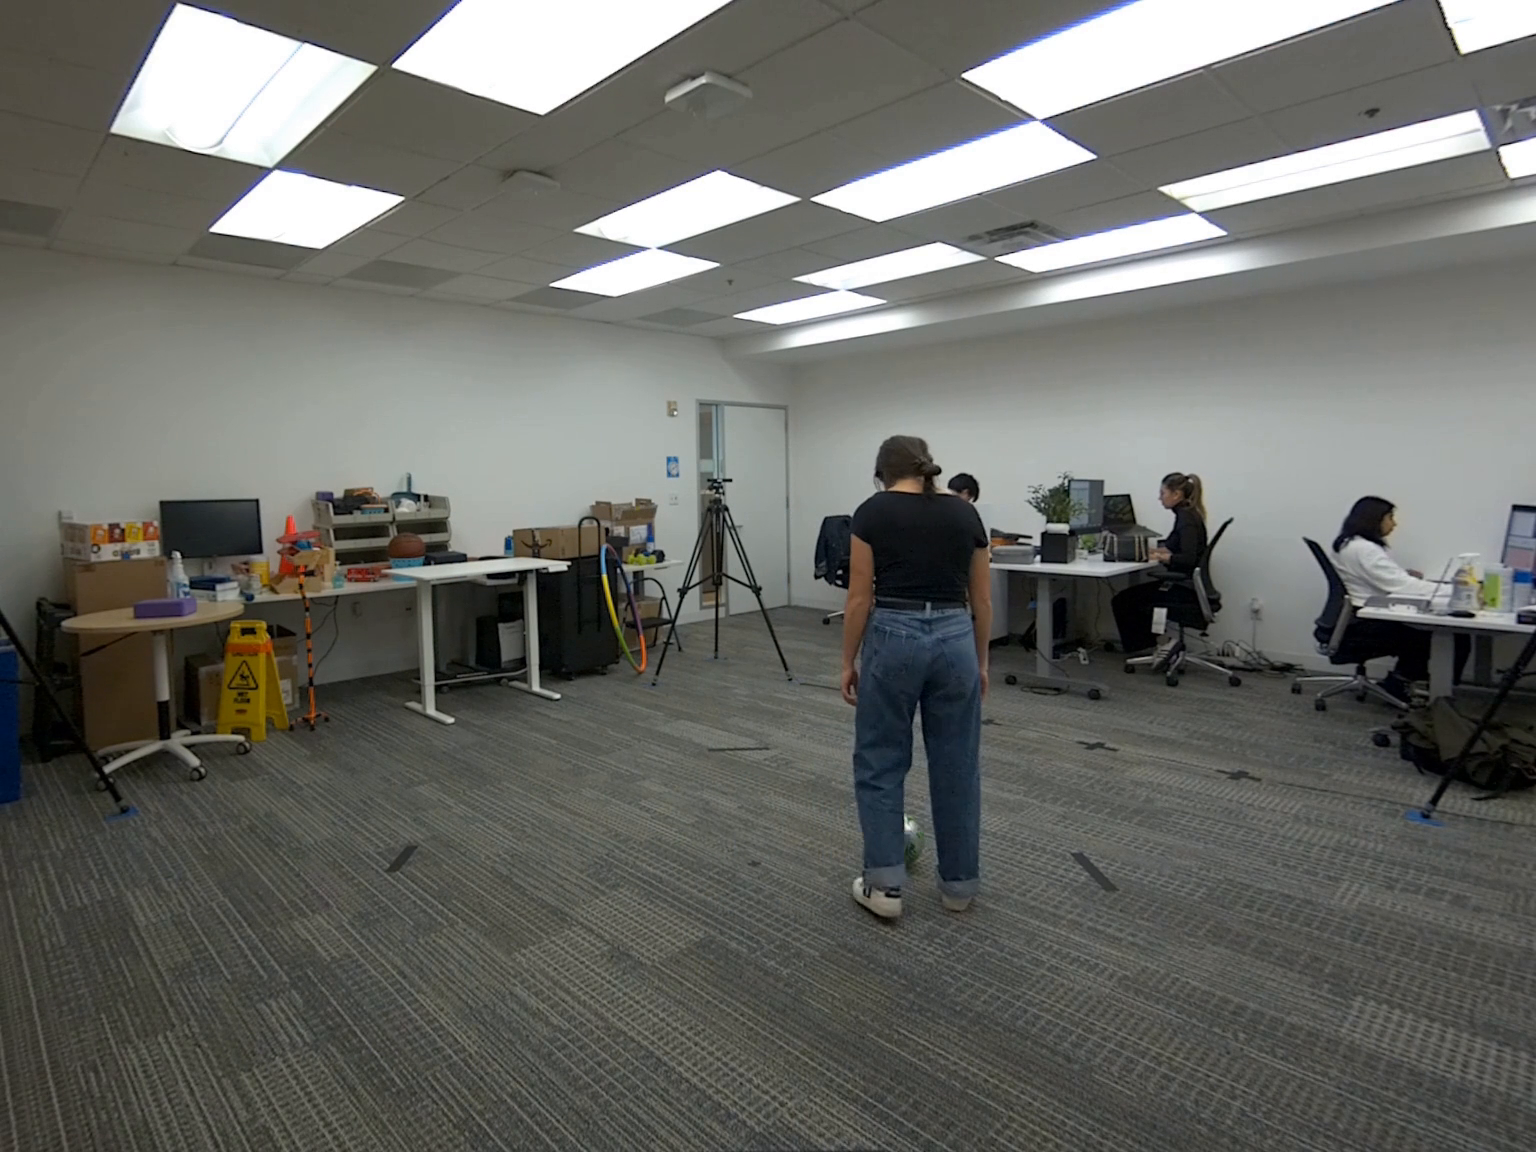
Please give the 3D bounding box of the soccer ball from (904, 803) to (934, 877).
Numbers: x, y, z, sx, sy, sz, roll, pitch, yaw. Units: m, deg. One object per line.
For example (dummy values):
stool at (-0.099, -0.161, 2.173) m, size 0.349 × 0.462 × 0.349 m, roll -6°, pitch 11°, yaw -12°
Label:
soccer ball at (0.477, 0.947, 3.086) m, size 0.187 × 0.187 × 0.188 m, roll -1°, pitch 5°, yaw -2°
